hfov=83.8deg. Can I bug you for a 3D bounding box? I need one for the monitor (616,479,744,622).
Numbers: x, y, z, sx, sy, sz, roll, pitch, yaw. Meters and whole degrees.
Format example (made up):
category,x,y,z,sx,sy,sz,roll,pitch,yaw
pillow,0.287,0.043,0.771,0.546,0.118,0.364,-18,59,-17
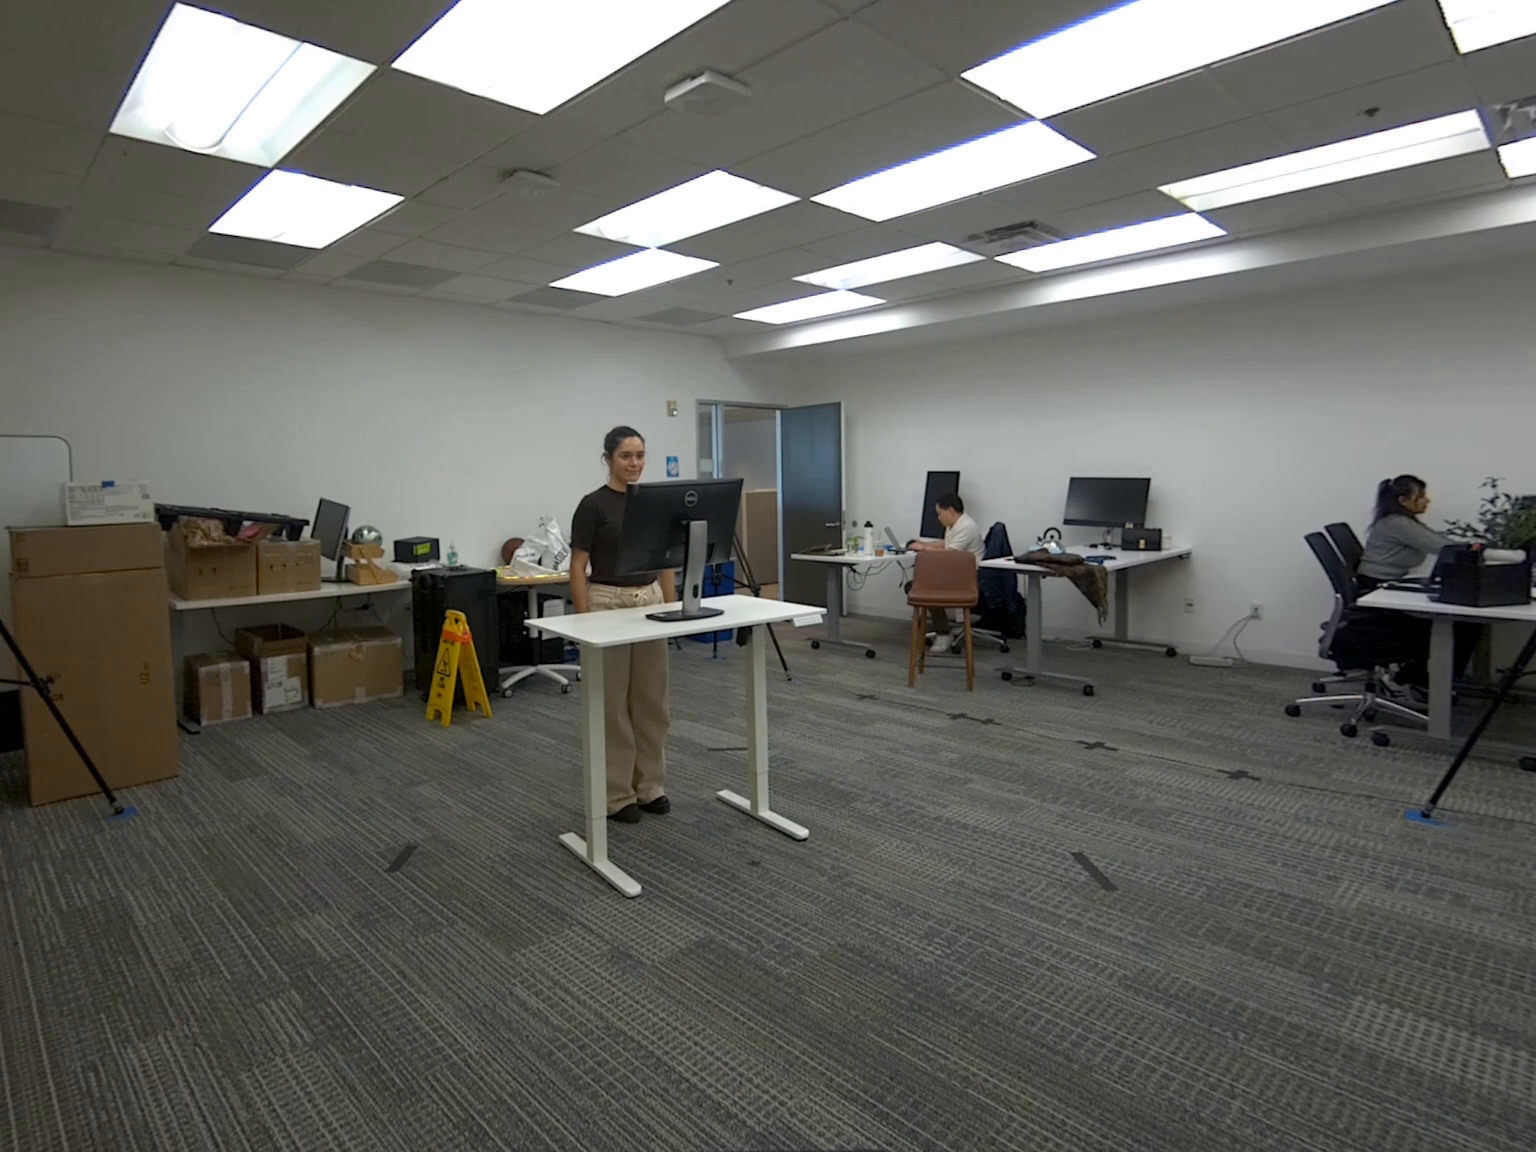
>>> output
category,x,y,z,sx,sy,sz,roll,pitch,yaw
monitor,-0.307,-0.100,3.208,0.525,0.519,0.193,-8,11,-43
